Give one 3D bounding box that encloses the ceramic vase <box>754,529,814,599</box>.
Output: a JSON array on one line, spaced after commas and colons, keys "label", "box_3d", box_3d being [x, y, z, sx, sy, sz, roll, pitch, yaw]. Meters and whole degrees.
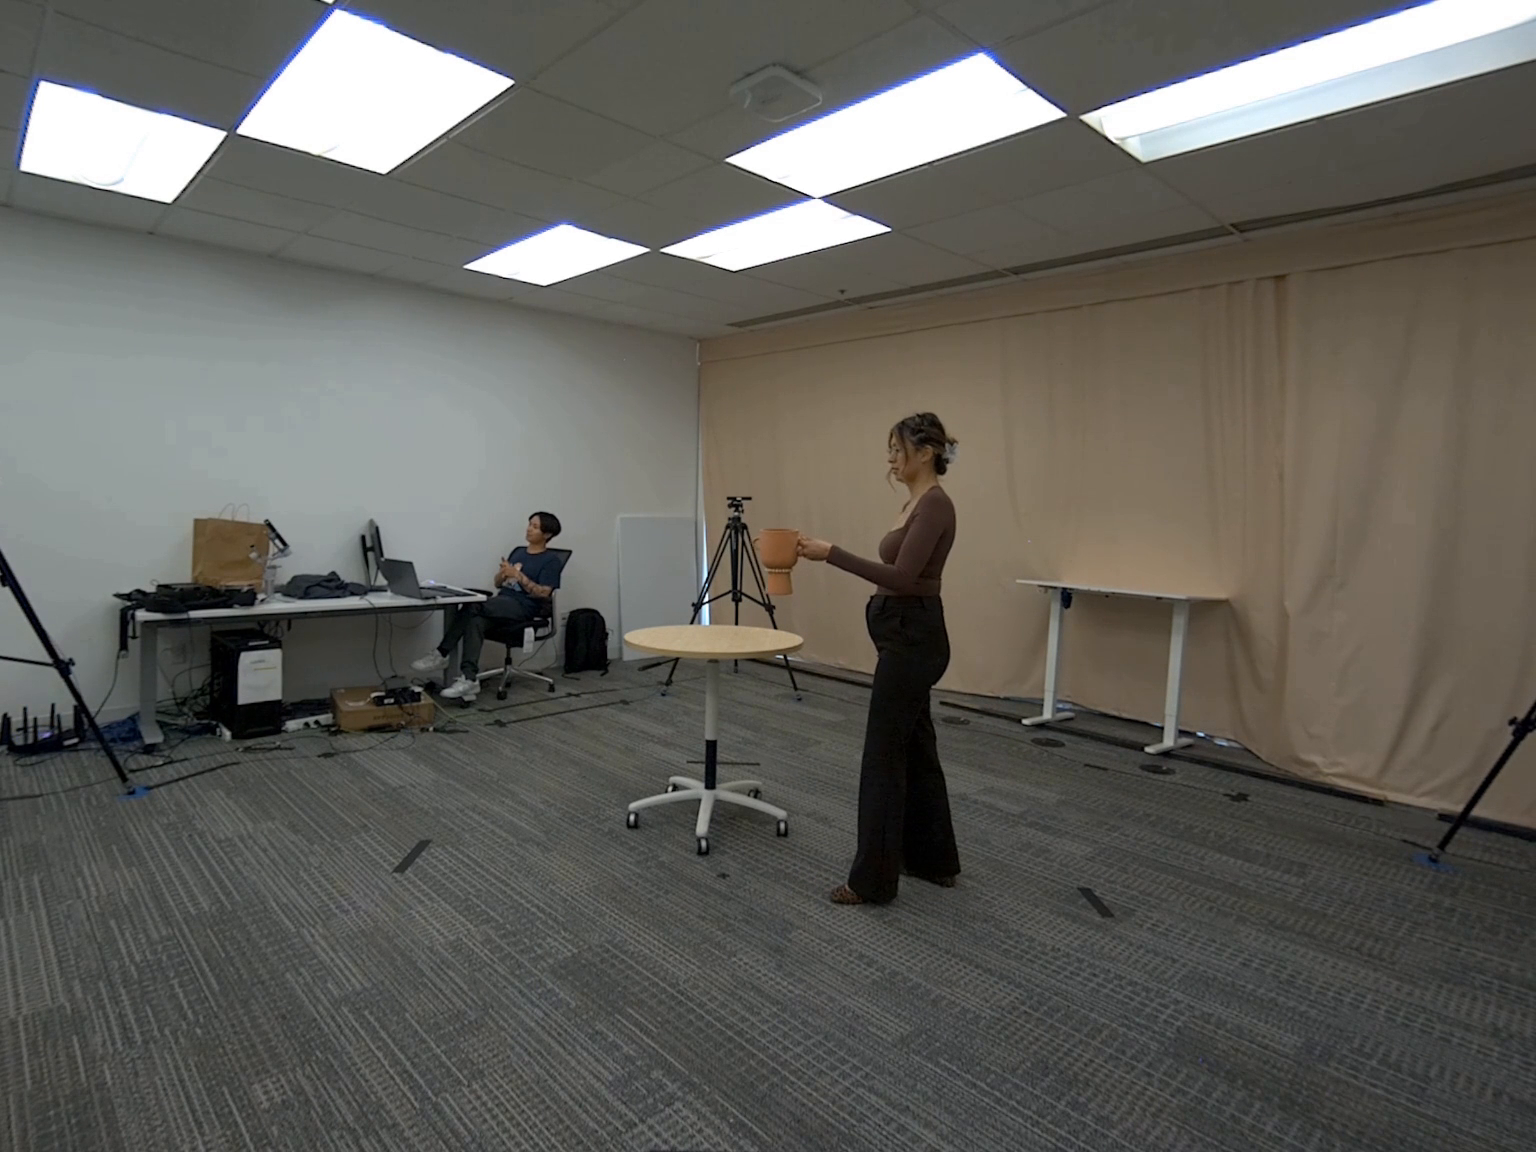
[{"label": "ceramic vase", "box_3d": [0.052, -0.045, 2.897, 0.132, 0.219, 0.162, -2, 5, -30]}]
